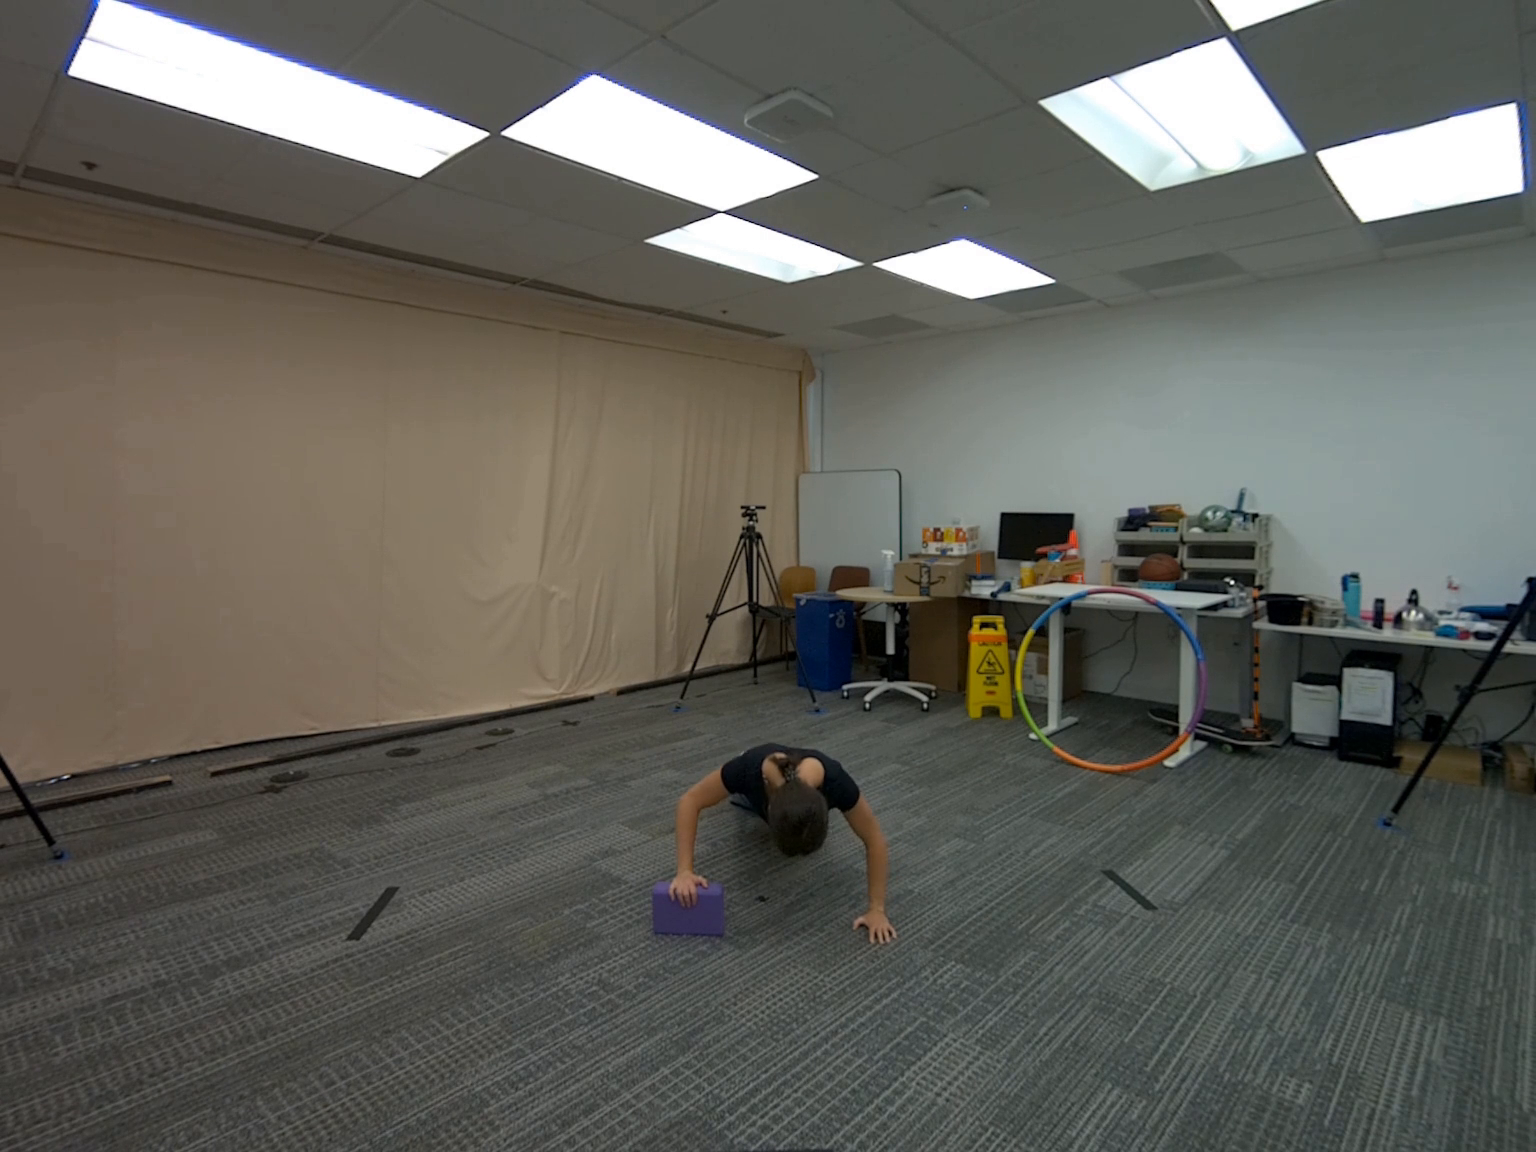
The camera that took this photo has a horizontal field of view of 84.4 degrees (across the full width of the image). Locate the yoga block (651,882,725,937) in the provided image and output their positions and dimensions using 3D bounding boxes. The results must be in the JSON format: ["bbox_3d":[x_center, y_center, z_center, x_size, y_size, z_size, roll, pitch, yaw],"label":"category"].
[{"bbox_3d":[-0.253,1.096,2.760,0.230,0.149,0.076,3,1,5],"label":"yoga block"}]
